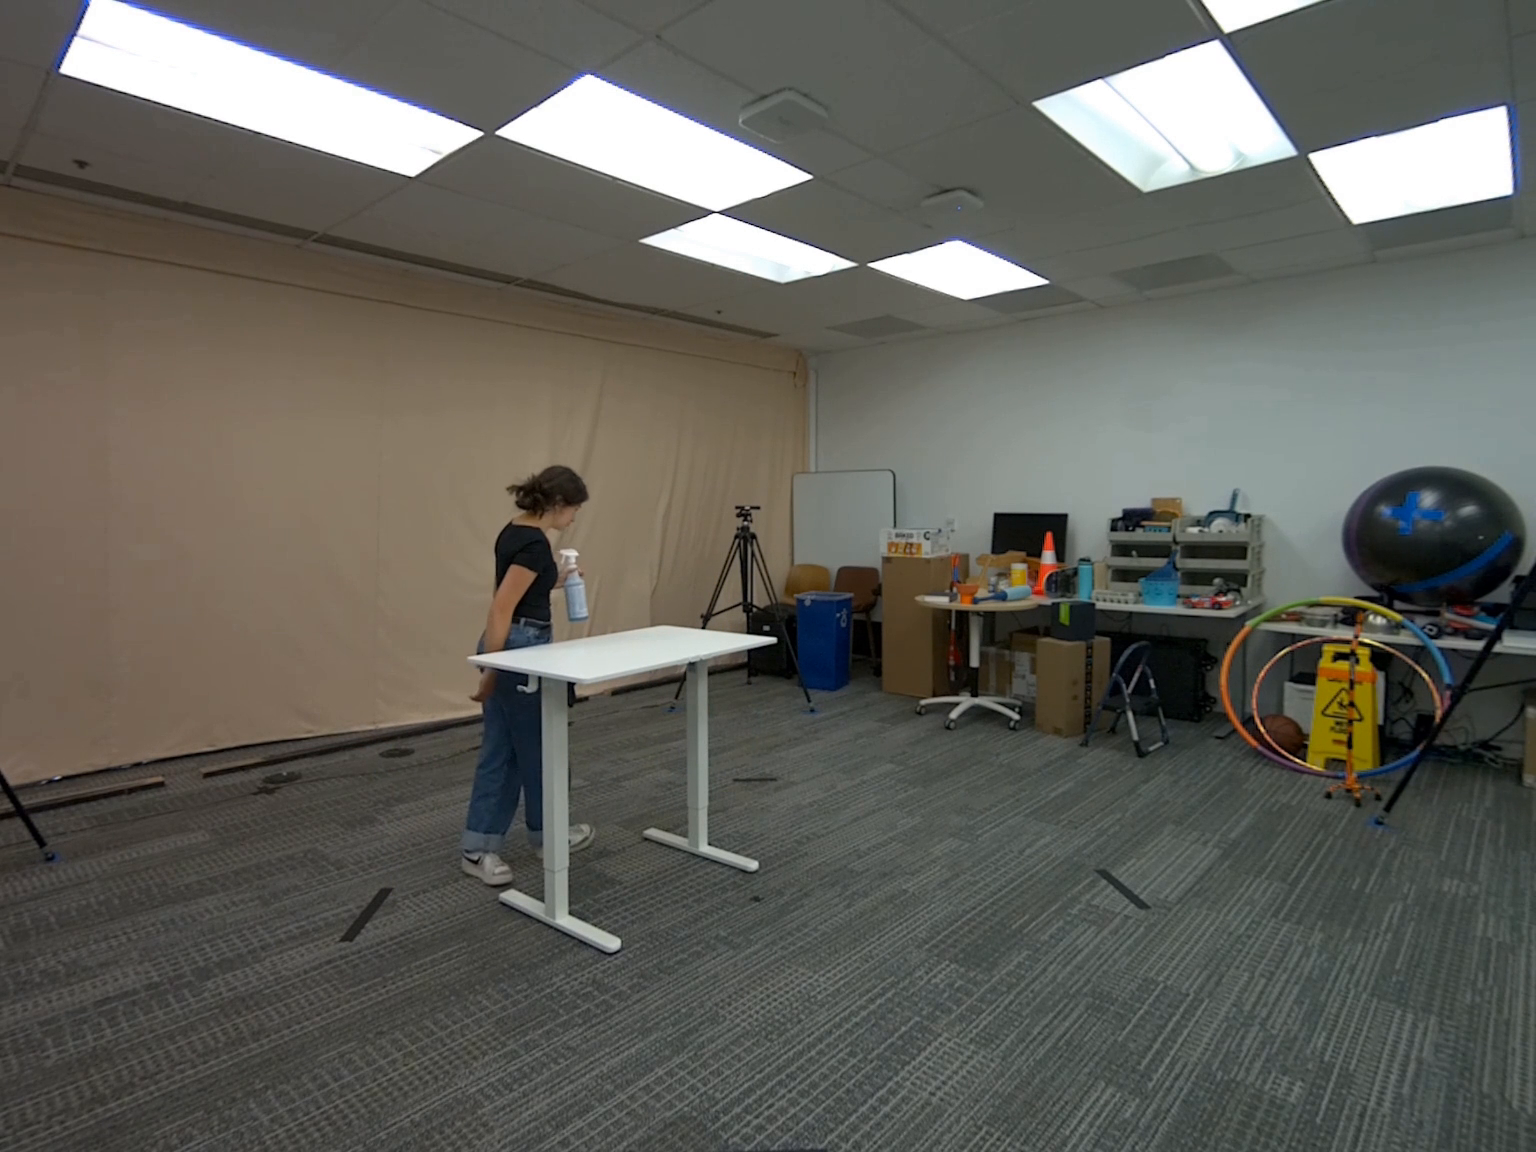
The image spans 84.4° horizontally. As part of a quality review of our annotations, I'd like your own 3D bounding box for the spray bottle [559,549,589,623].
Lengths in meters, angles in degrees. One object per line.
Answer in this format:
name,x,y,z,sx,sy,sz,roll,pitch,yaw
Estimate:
spray bottle,-0.808,0.036,3.483,0.088,0.296,0.089,-8,4,-19
